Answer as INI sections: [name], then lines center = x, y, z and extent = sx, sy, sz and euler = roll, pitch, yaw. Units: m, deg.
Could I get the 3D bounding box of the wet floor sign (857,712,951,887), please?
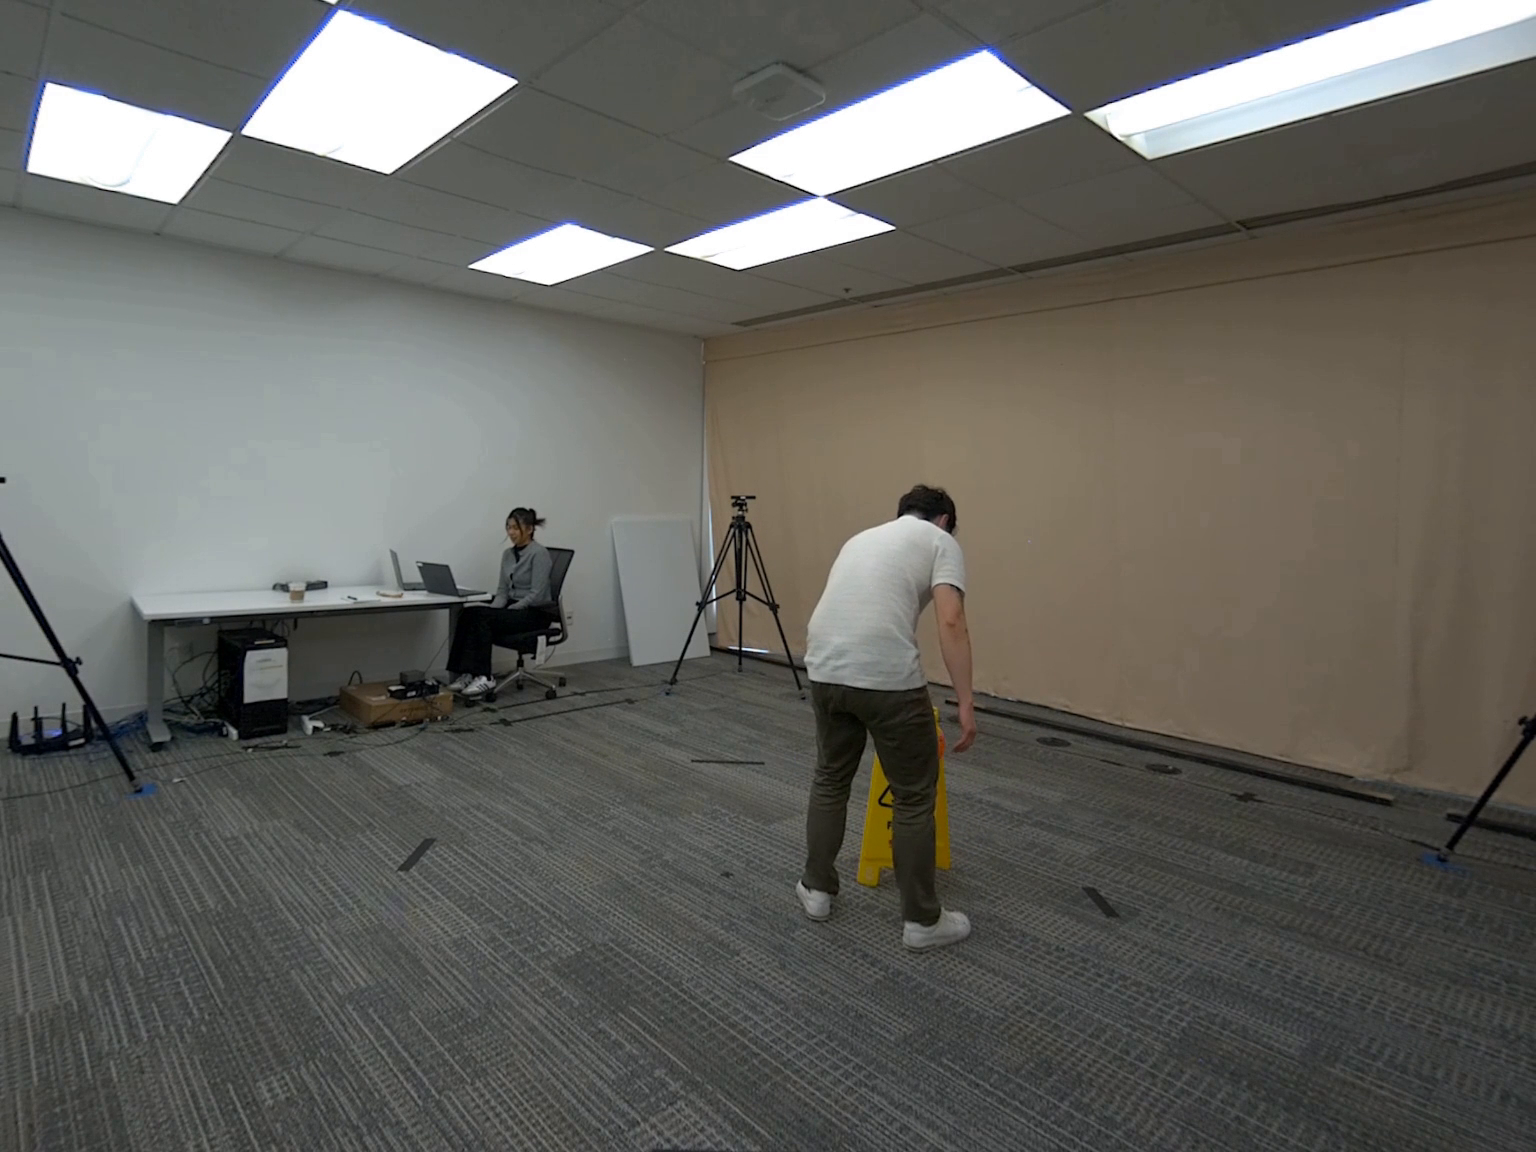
[wet floor sign]
center = 0.516, 0.795, 3.120
extent = 0.288, 0.645, 0.285
euler = 4, 3, 24
